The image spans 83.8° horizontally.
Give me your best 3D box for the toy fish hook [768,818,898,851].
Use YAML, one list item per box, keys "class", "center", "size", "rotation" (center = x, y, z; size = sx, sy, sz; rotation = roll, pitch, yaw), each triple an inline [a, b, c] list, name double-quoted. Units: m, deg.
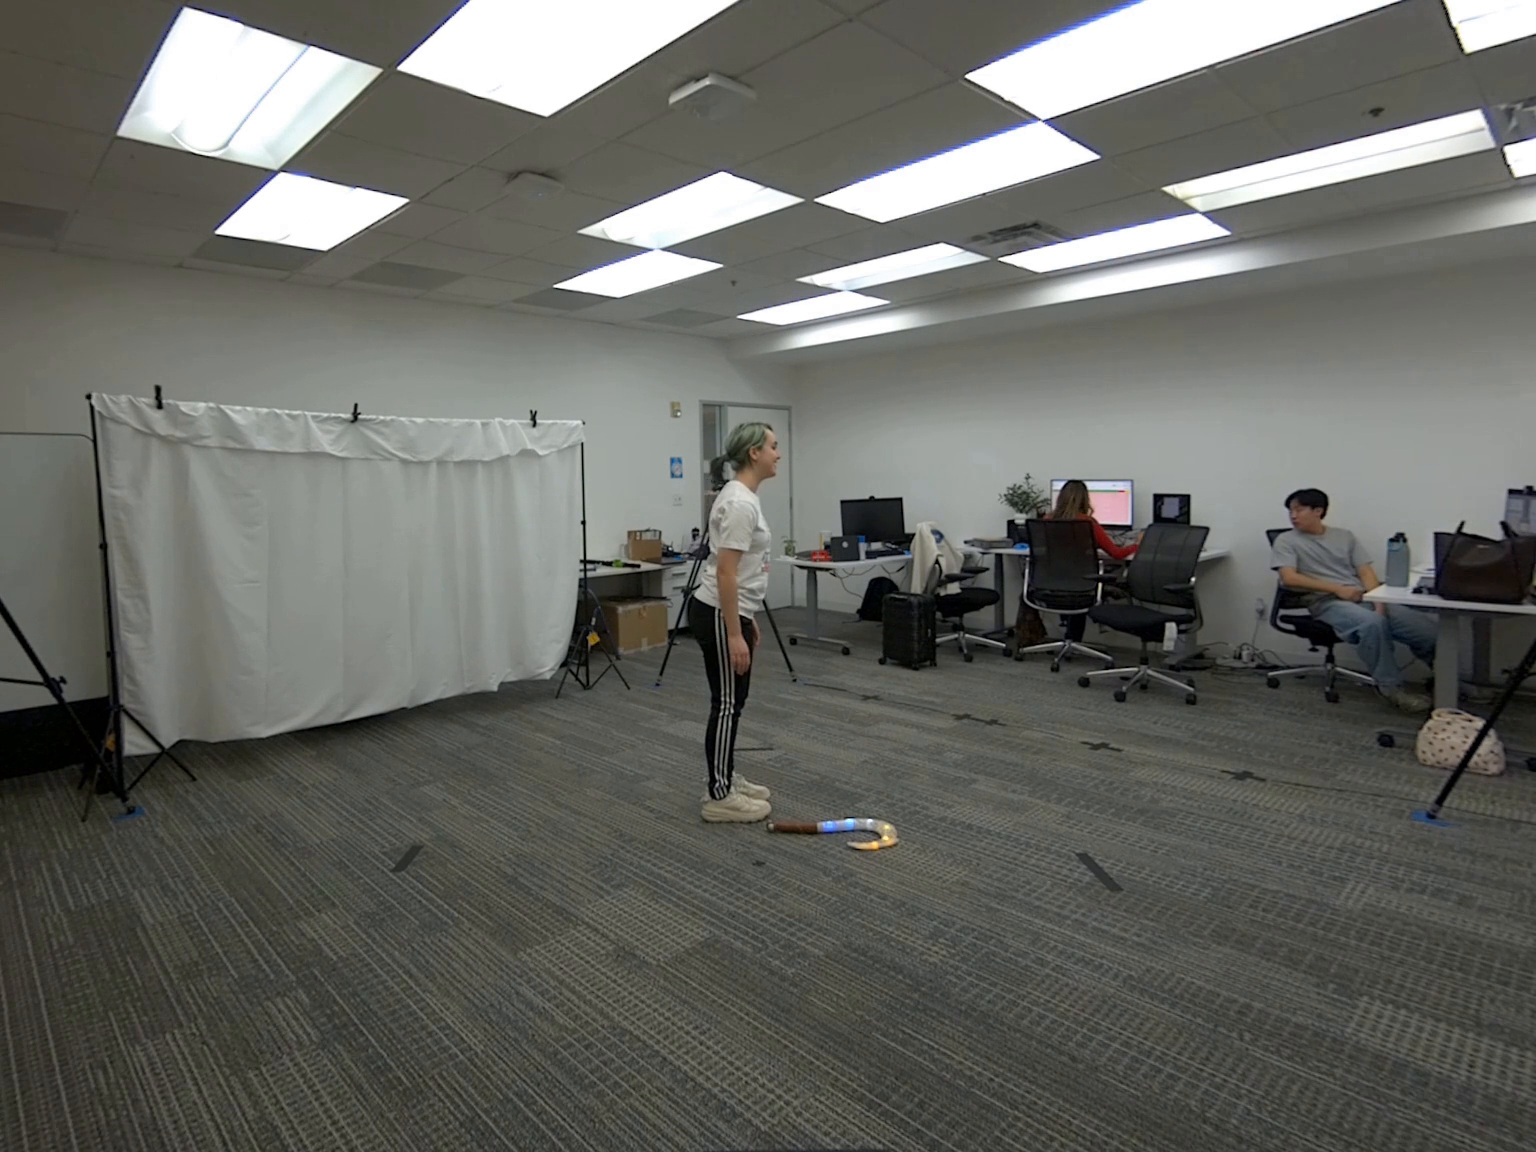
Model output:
- class: "toy fish hook"
  center: [0.245, 0.995, 3.315]
  size: [0.509, 0.048, 0.224]
  rotation: [-1, 5, 5]
